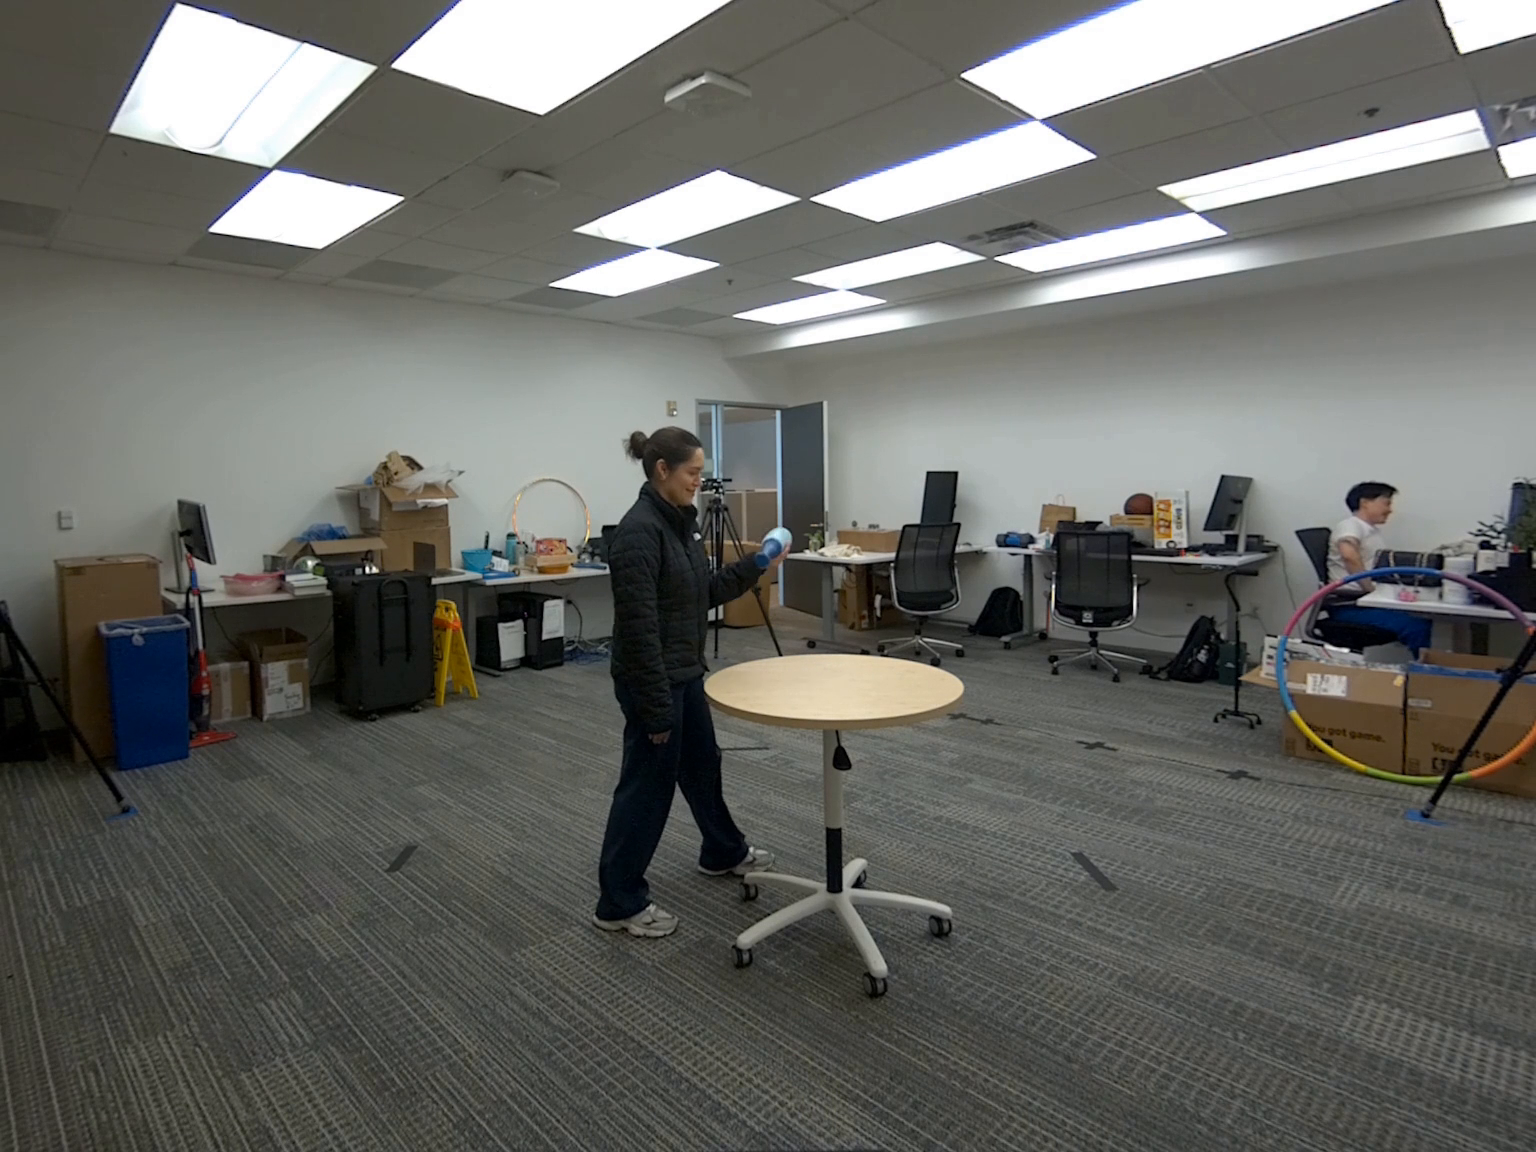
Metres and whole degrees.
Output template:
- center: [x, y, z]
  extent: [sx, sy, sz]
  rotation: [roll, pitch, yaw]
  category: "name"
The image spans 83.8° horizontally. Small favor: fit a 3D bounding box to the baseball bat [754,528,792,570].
- center: [0.002, -0.093, 2.836]
  extent: [0.090, 0.088, 0.542]
  rotation: [0, 9, 8]
  category: "baseball bat"
